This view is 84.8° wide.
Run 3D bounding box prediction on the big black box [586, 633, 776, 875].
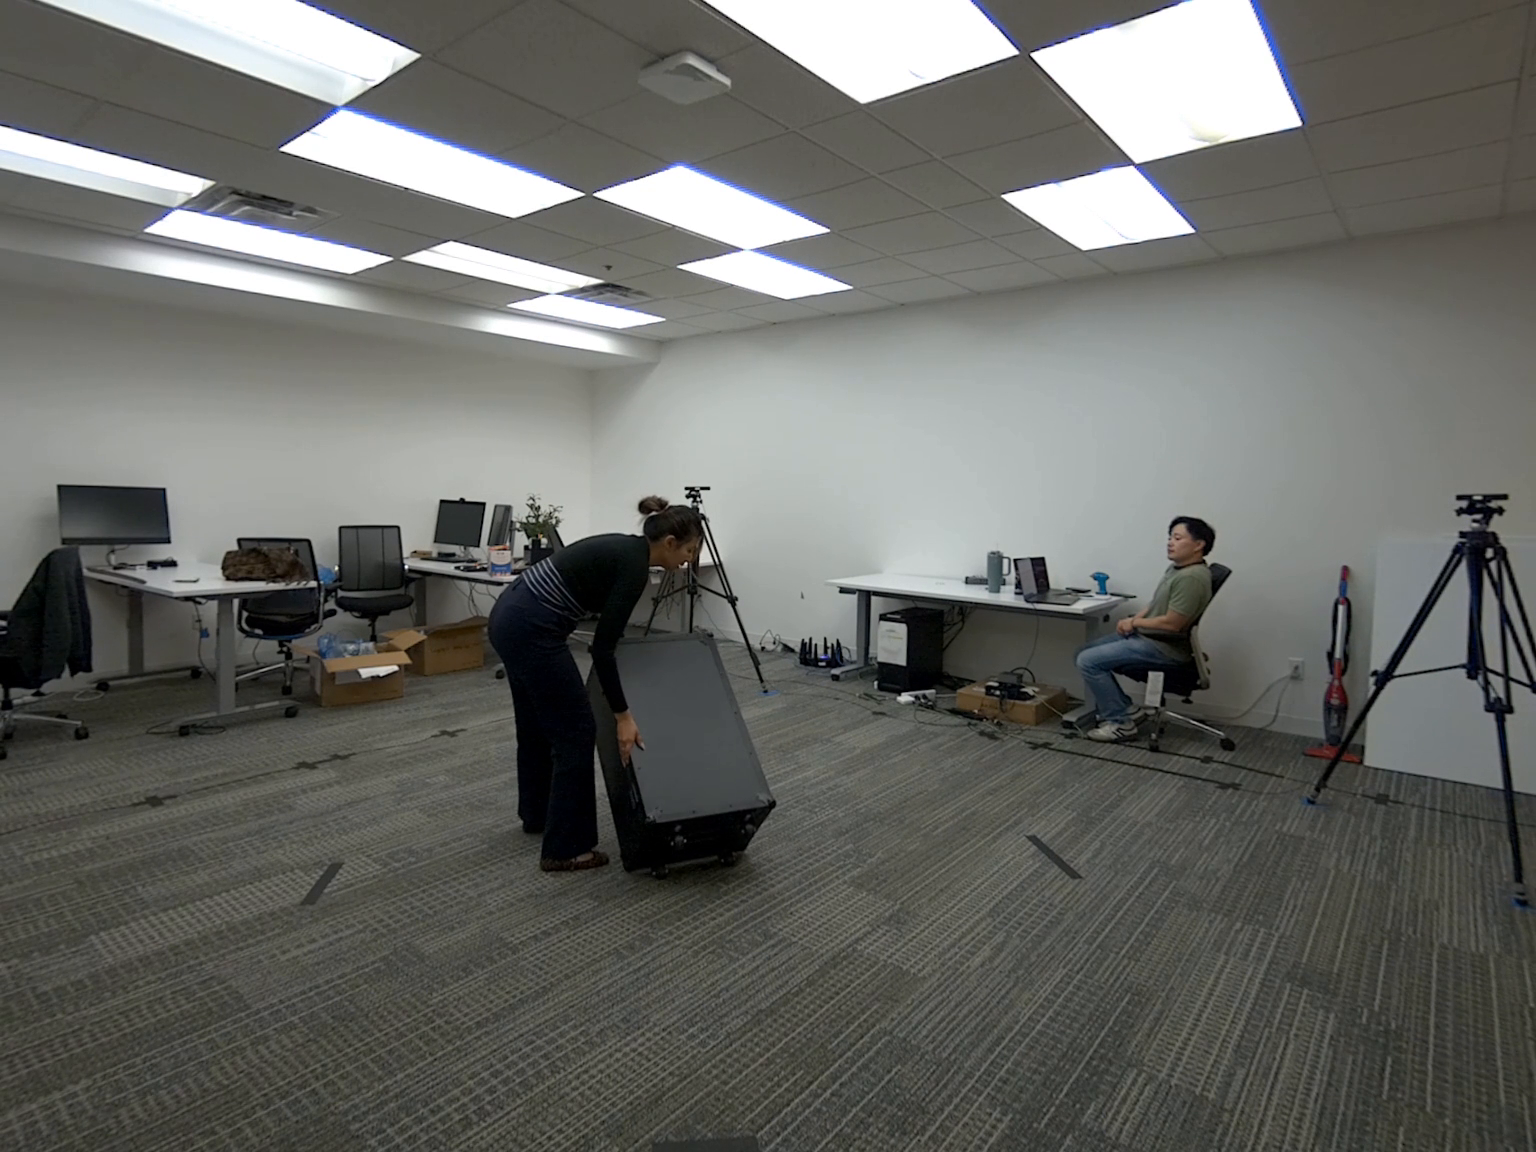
[{"bbox_3d":[-0.386,0.634,3.297,0.509,0.391,0.895,-2,47,-26],"label":"big black box"}]
